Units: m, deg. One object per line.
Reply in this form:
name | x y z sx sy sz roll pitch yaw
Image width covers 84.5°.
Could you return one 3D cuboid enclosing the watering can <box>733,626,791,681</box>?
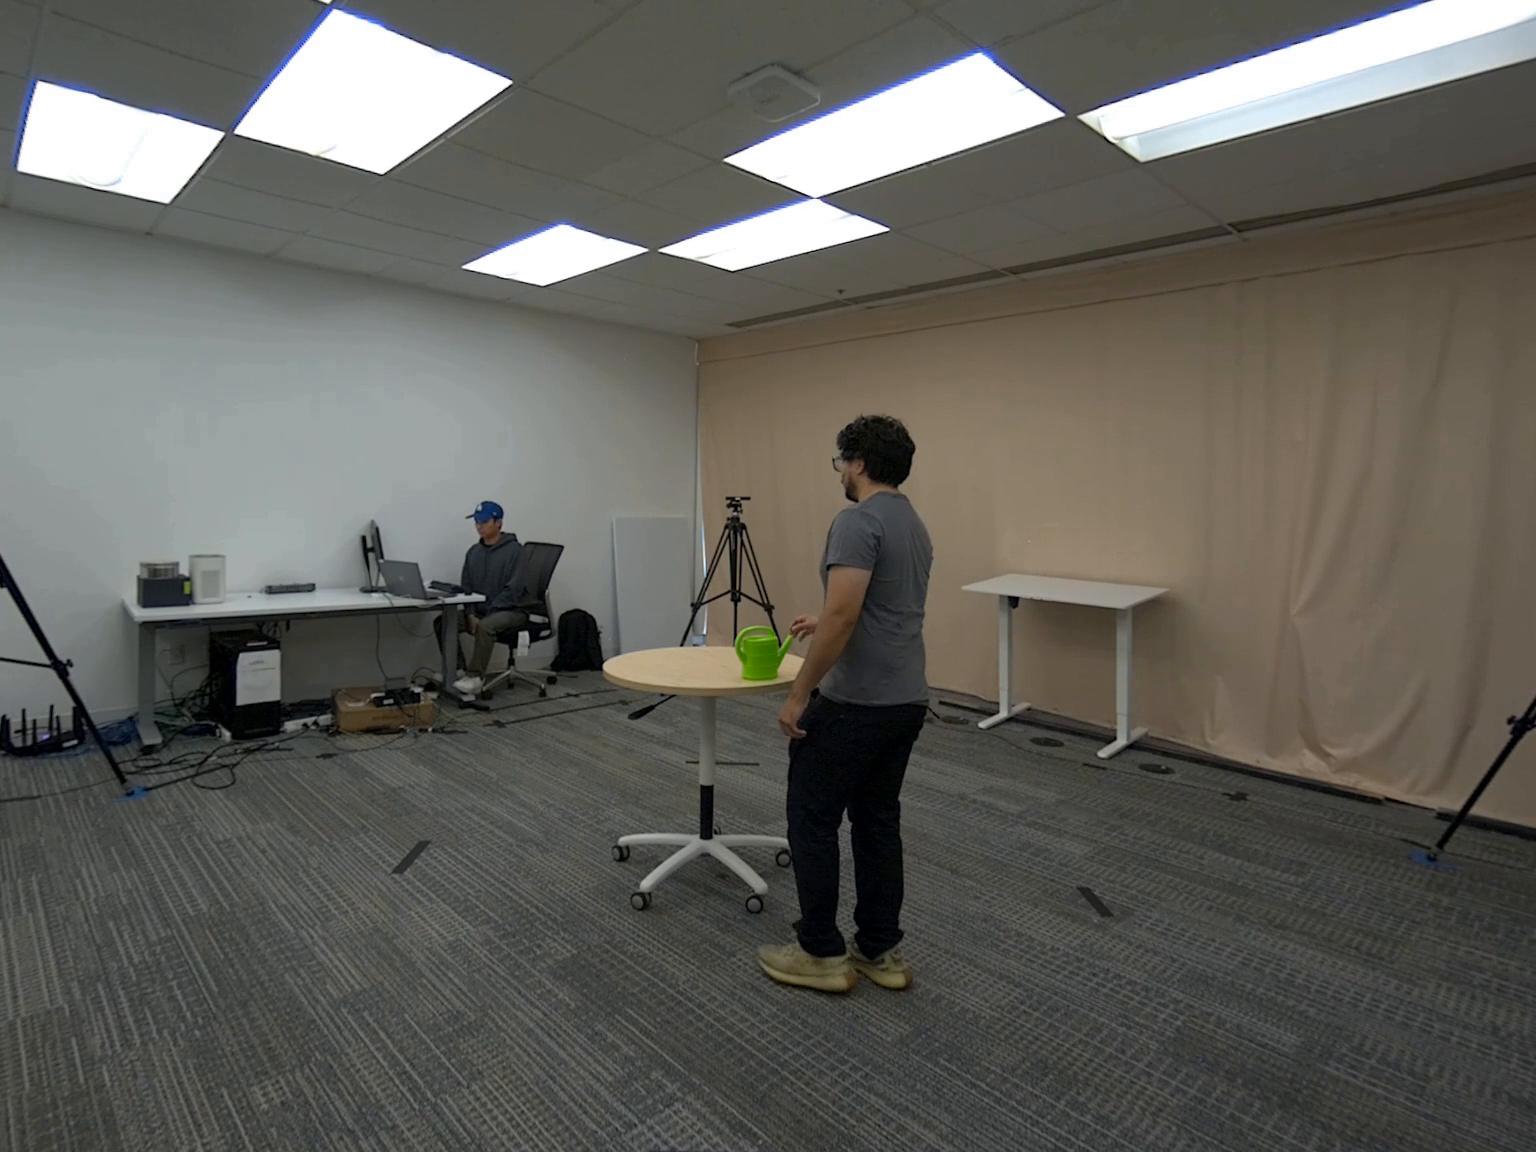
watering can | 0.010 0.258 2.867 0.275 0.176 0.099 -2 5 -13
